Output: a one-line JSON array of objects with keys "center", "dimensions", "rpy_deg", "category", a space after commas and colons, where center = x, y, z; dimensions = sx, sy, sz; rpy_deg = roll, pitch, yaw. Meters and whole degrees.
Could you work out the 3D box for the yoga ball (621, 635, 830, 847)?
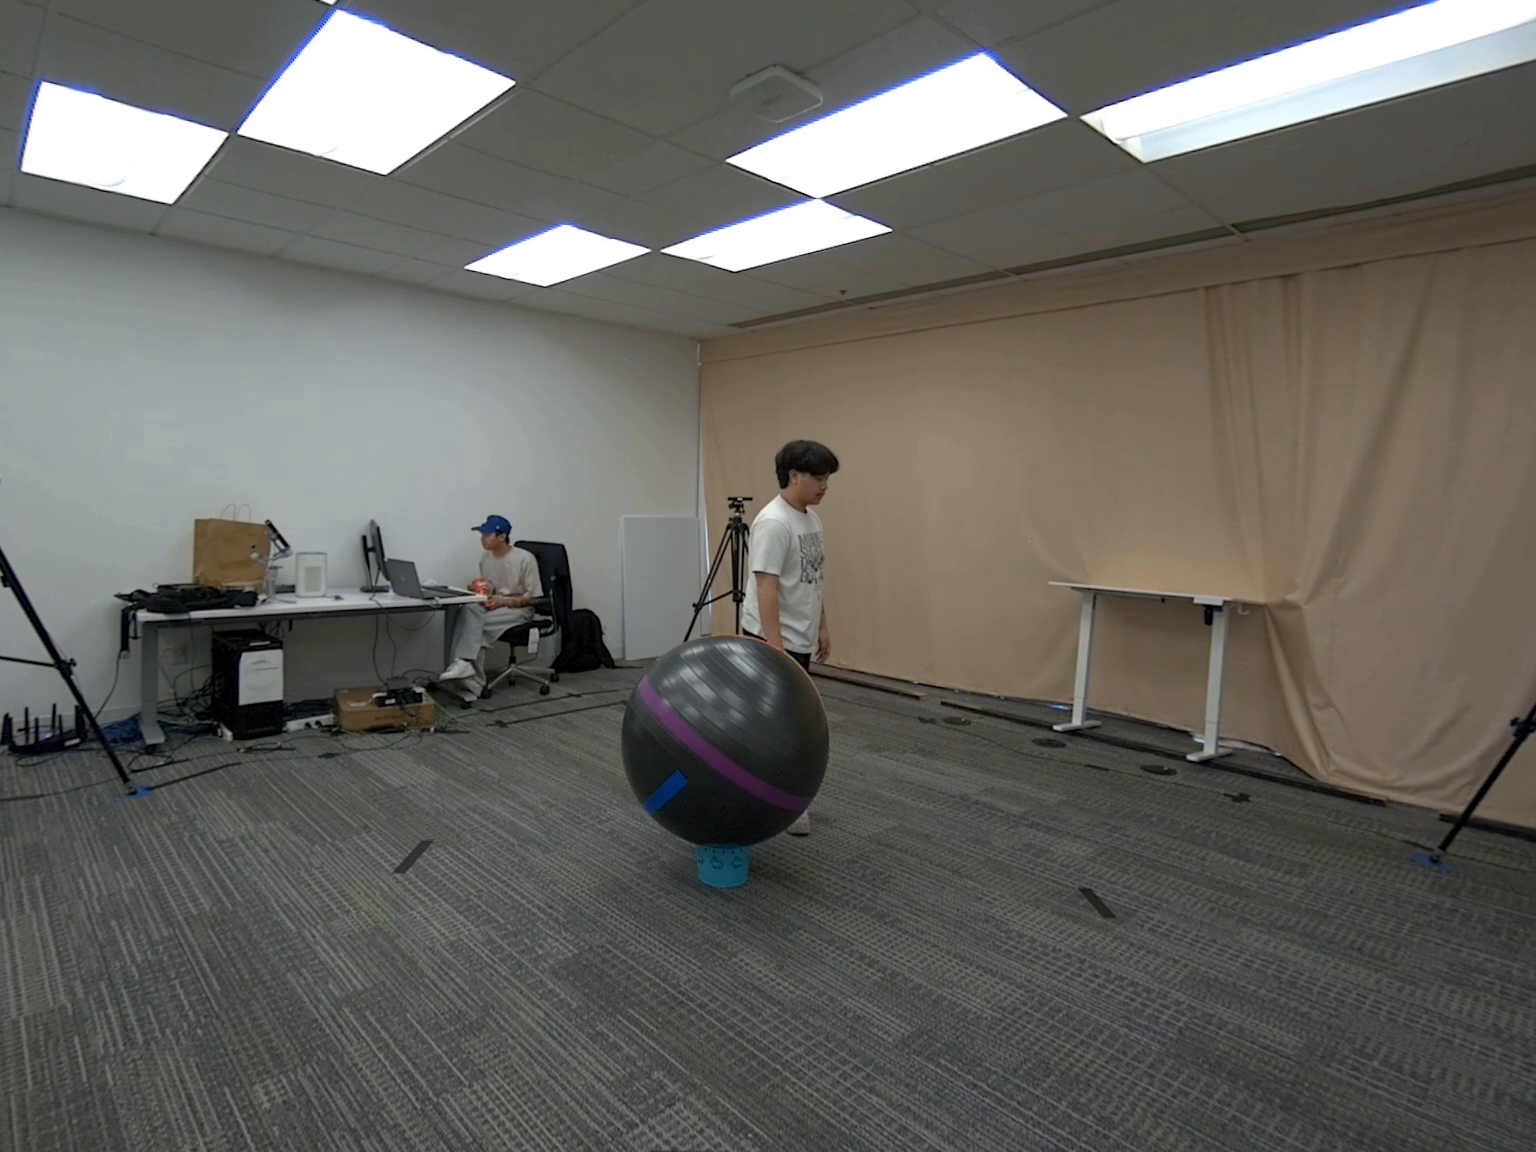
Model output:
[{"center": [-0.160, 0.601, 3.085], "dimensions": [0.757, 0.756, 0.761], "rpy_deg": [1, 4, -1], "category": "yoga ball"}]
